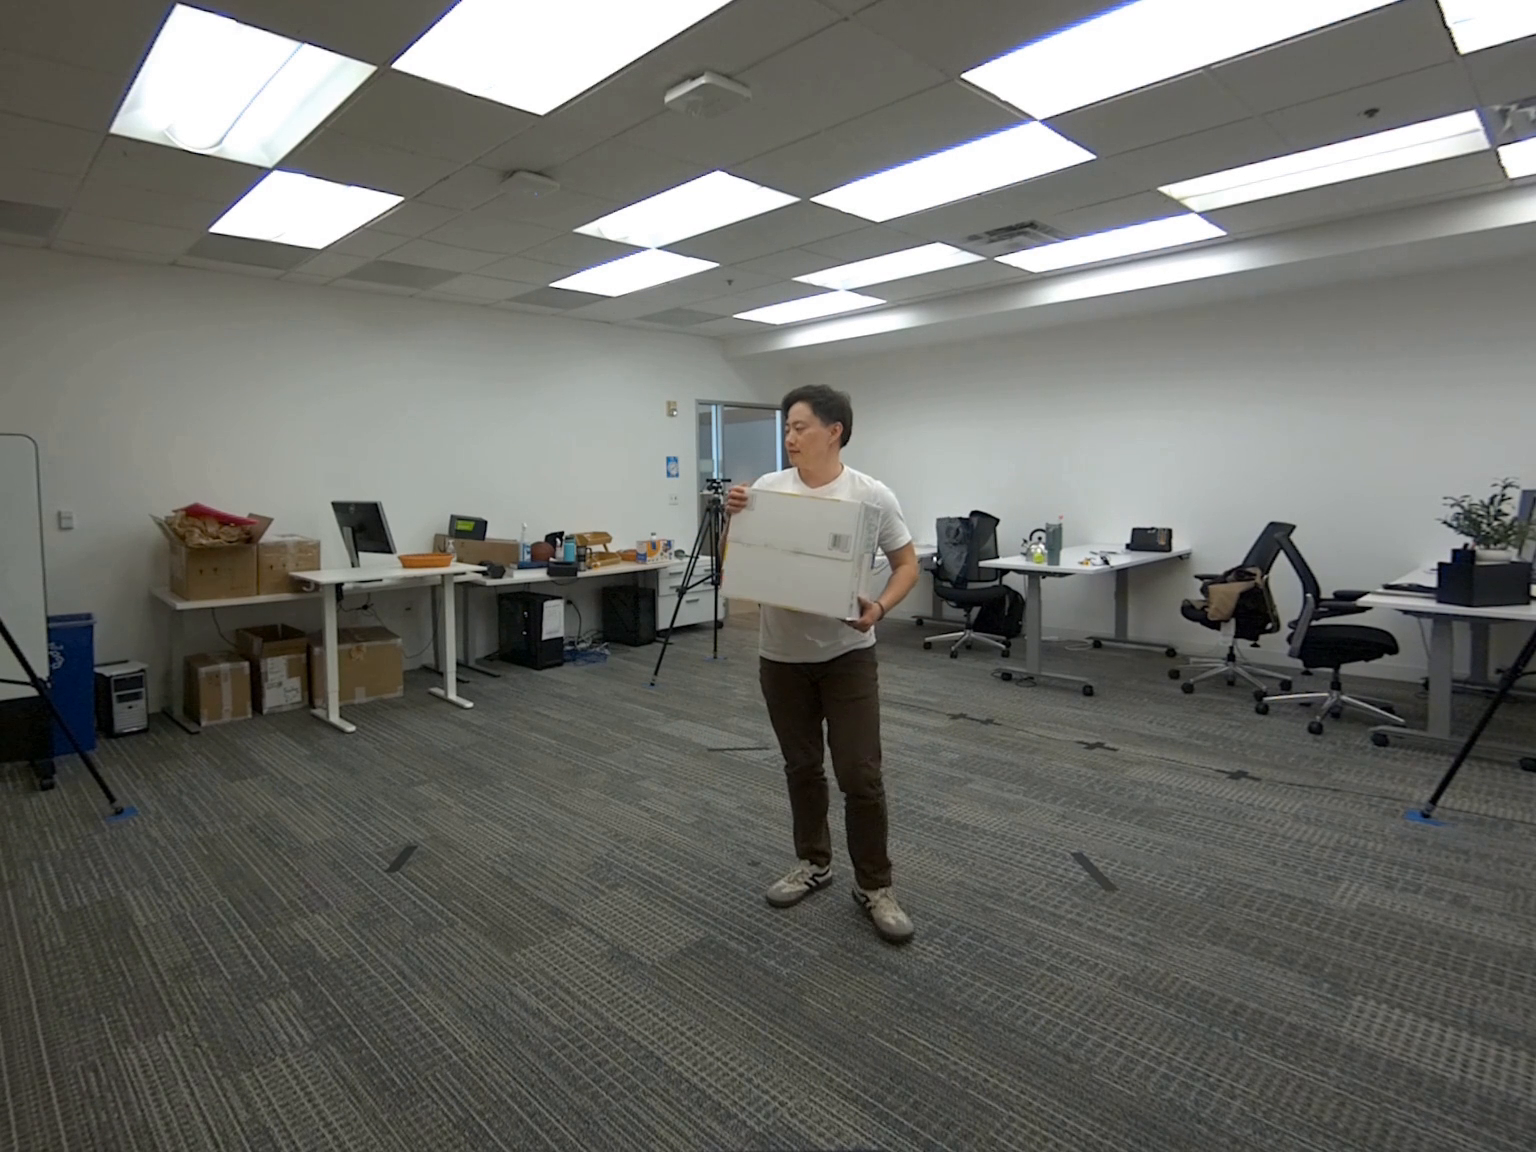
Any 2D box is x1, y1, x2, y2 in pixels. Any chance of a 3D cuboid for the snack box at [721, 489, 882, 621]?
[{"bbox_3d":[0.104,-0.072,2.562,0.415,0.340,0.201,9,1,24],"label":"snack box"}]
